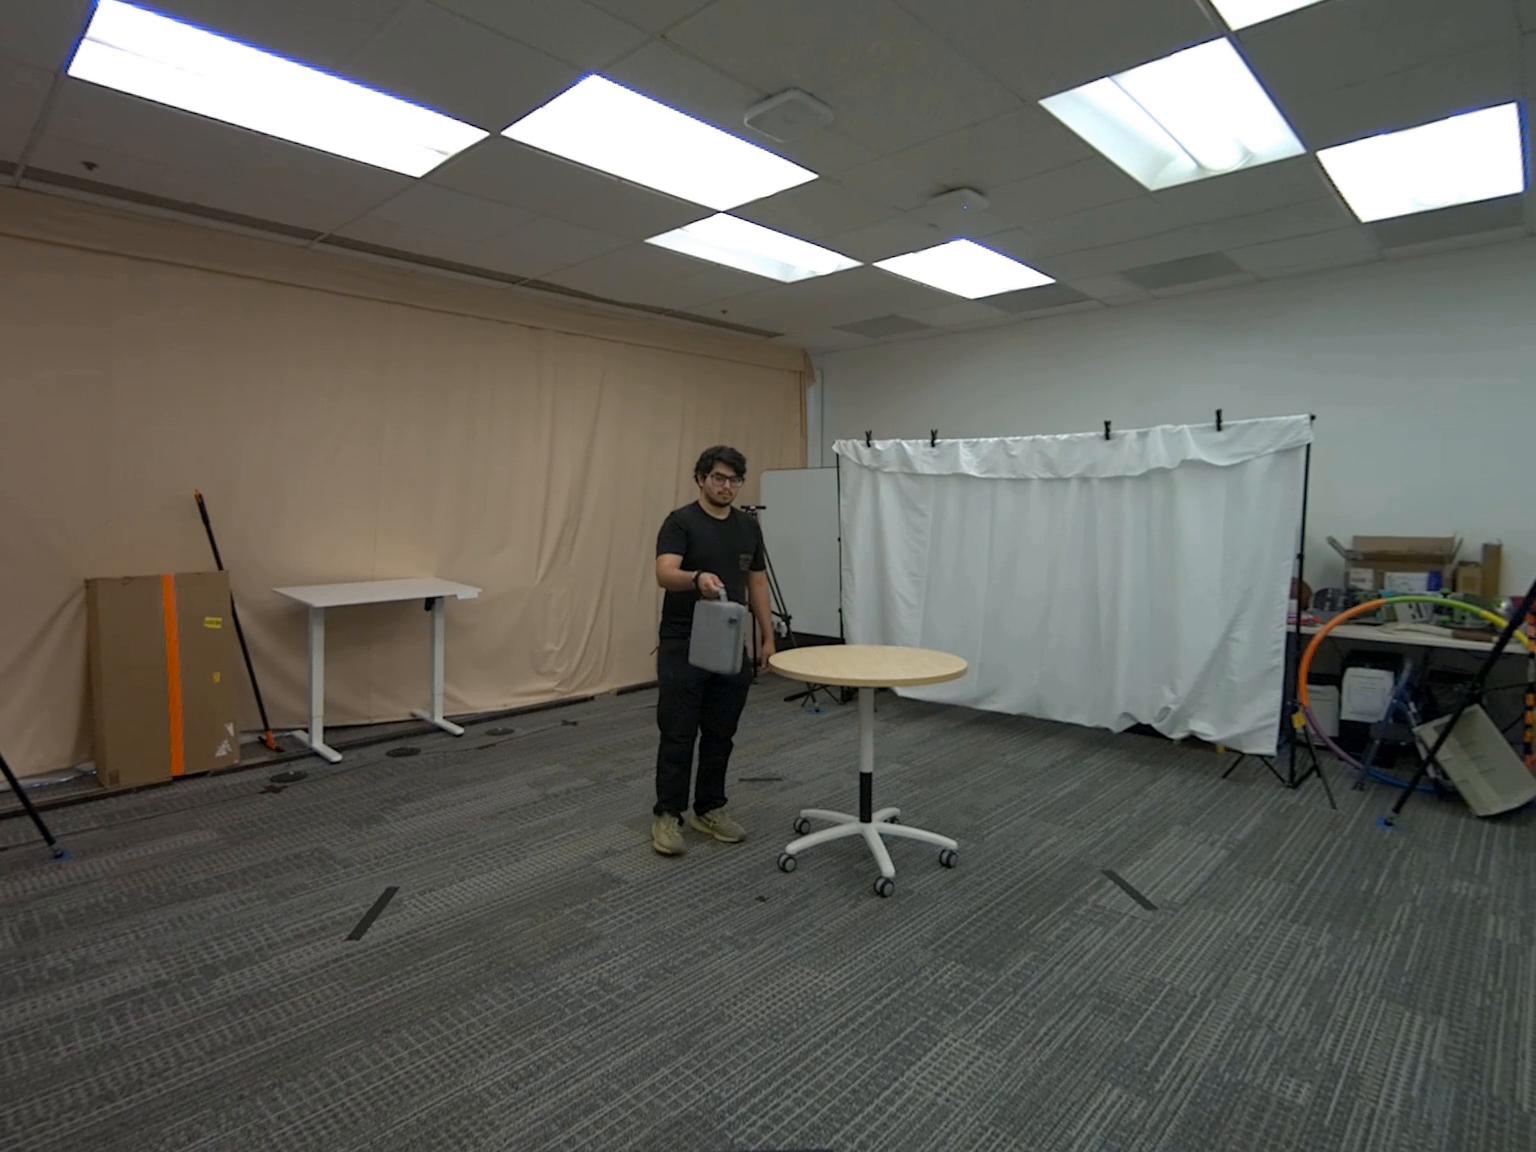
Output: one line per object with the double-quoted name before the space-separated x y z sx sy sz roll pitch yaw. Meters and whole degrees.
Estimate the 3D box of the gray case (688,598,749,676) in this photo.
"gray case" -0.180 0.214 3.061 0.101 0.261 0.264 5 -1 -28
